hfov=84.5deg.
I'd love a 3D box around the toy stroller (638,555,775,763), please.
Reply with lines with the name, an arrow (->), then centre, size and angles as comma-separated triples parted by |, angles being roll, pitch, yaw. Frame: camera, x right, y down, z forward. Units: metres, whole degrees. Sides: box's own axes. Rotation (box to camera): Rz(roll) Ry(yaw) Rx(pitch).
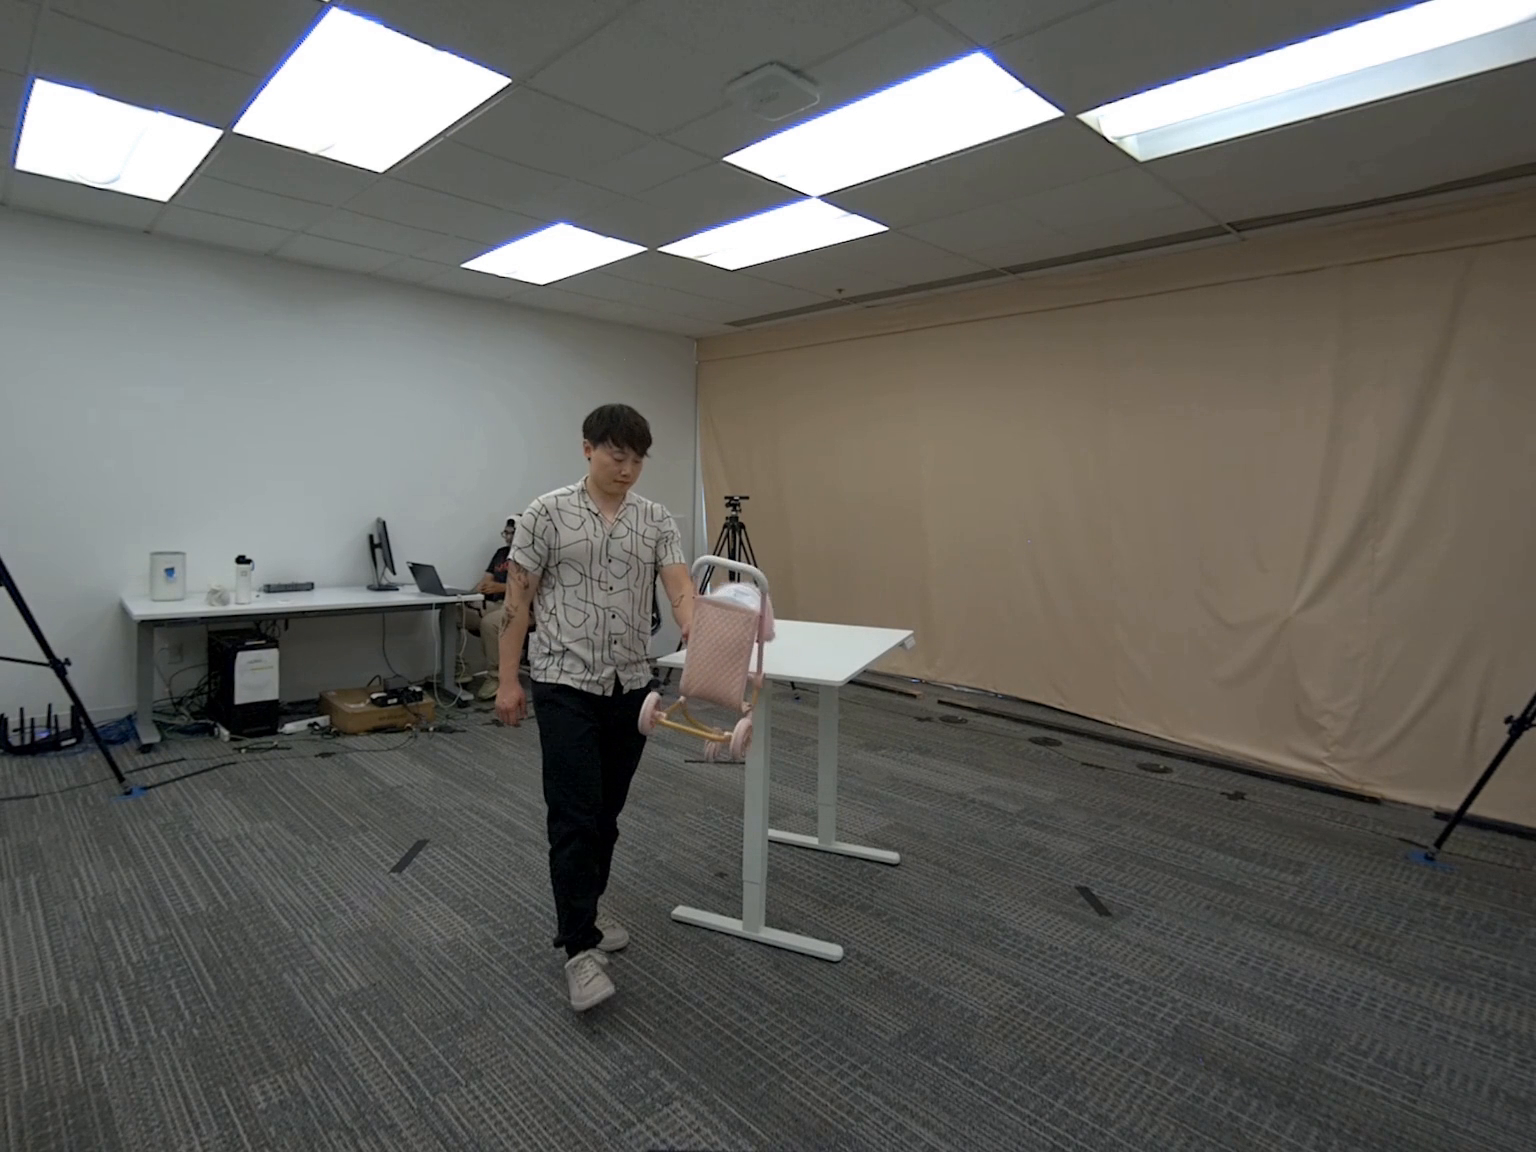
toy stroller -> -0.129, 0.248, 2.222 | 0.286, 0.537, 0.334 | 12, -7, 18
